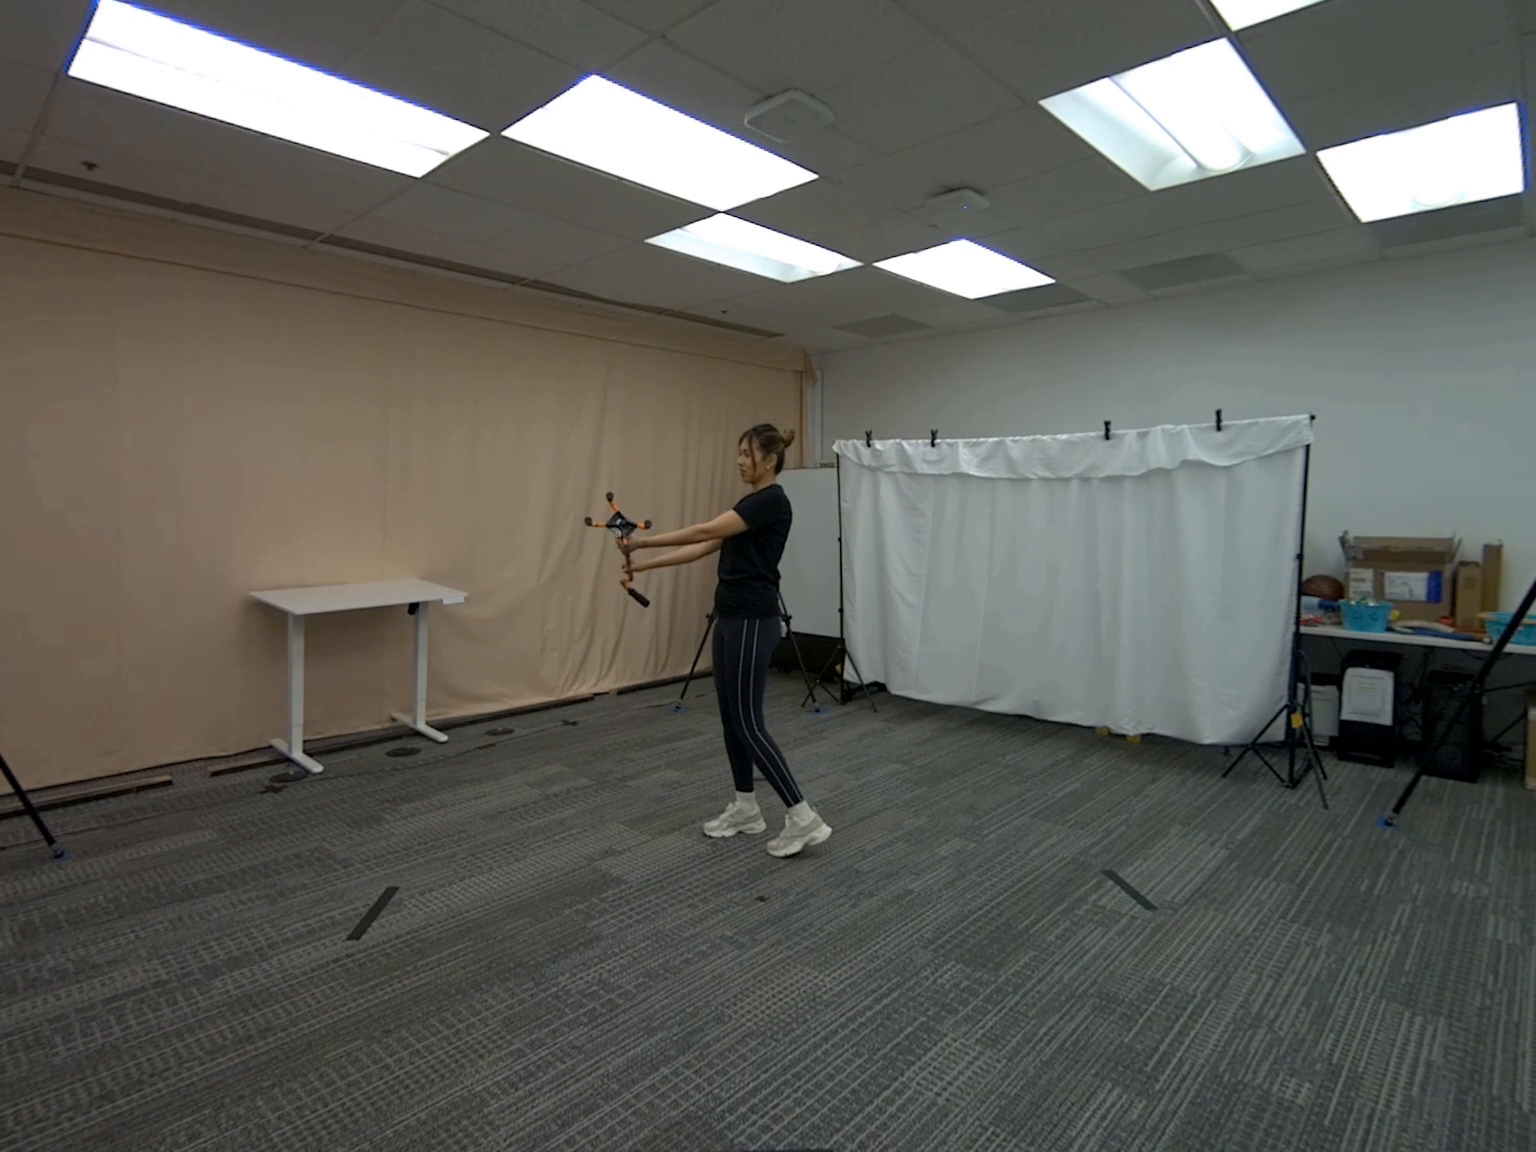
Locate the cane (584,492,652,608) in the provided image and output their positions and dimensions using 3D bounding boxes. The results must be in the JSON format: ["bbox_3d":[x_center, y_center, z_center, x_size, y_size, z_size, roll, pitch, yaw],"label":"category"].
[{"bbox_3d":[-0.581,-0.050,3.456,0.209,0.151,0.900,37,-18,8],"label":"cane"}]
